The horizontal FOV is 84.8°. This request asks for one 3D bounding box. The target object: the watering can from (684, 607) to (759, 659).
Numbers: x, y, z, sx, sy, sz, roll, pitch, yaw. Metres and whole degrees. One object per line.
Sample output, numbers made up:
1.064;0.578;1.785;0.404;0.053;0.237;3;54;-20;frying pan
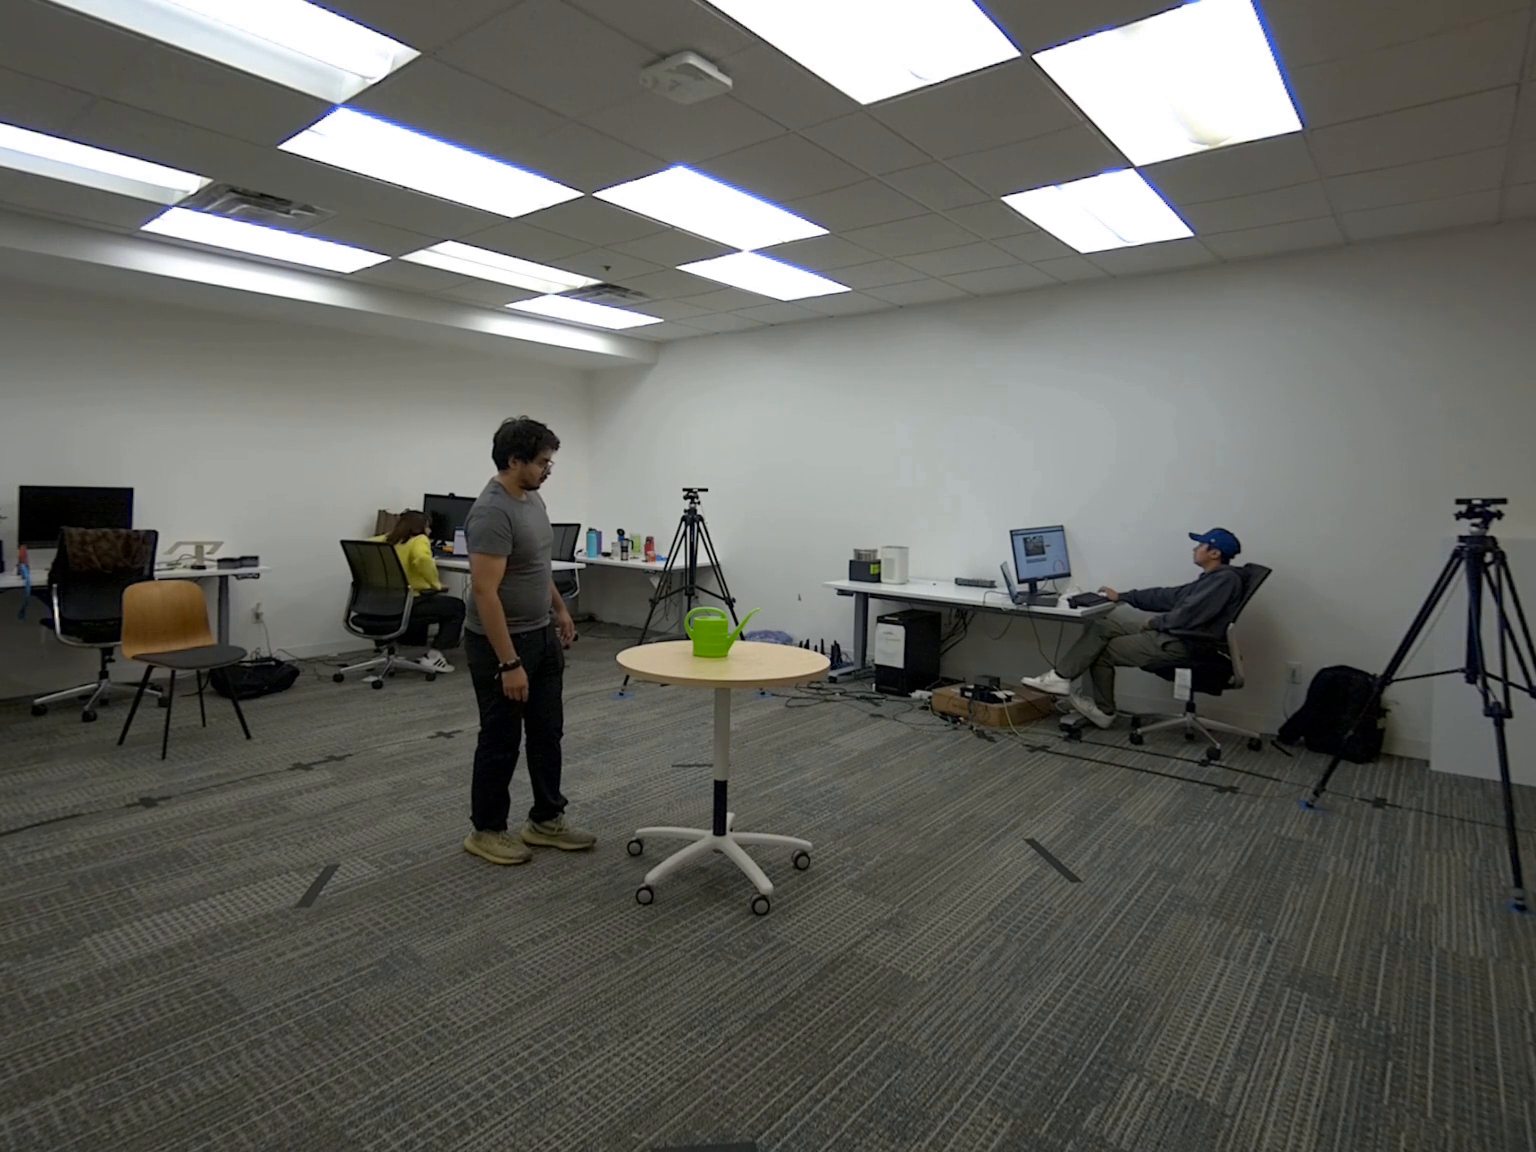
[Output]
-0.185;0.199;3.085;0.283;0.176;0.096;-1;2;15;watering can
